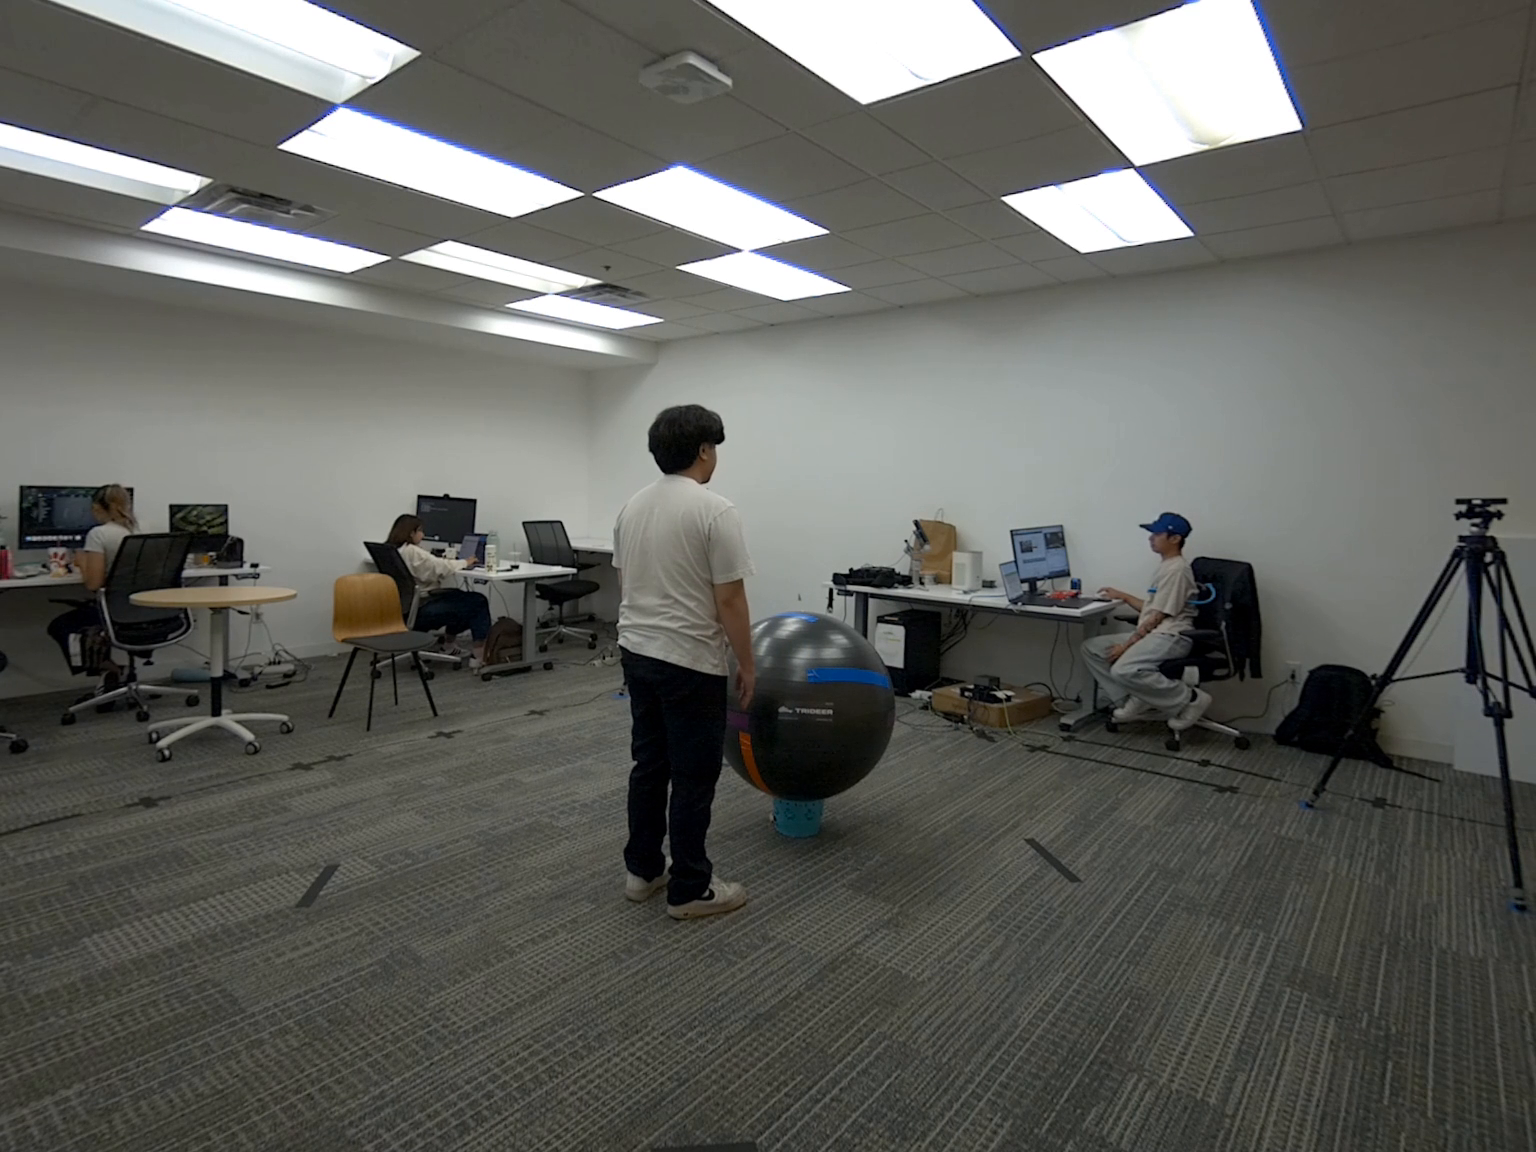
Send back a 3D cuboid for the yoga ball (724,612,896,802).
[{"bbox_3d":[0.130,0.526,3.489,0.757,0.755,0.762,1,4,-2],"label":"yoga ball"}]
